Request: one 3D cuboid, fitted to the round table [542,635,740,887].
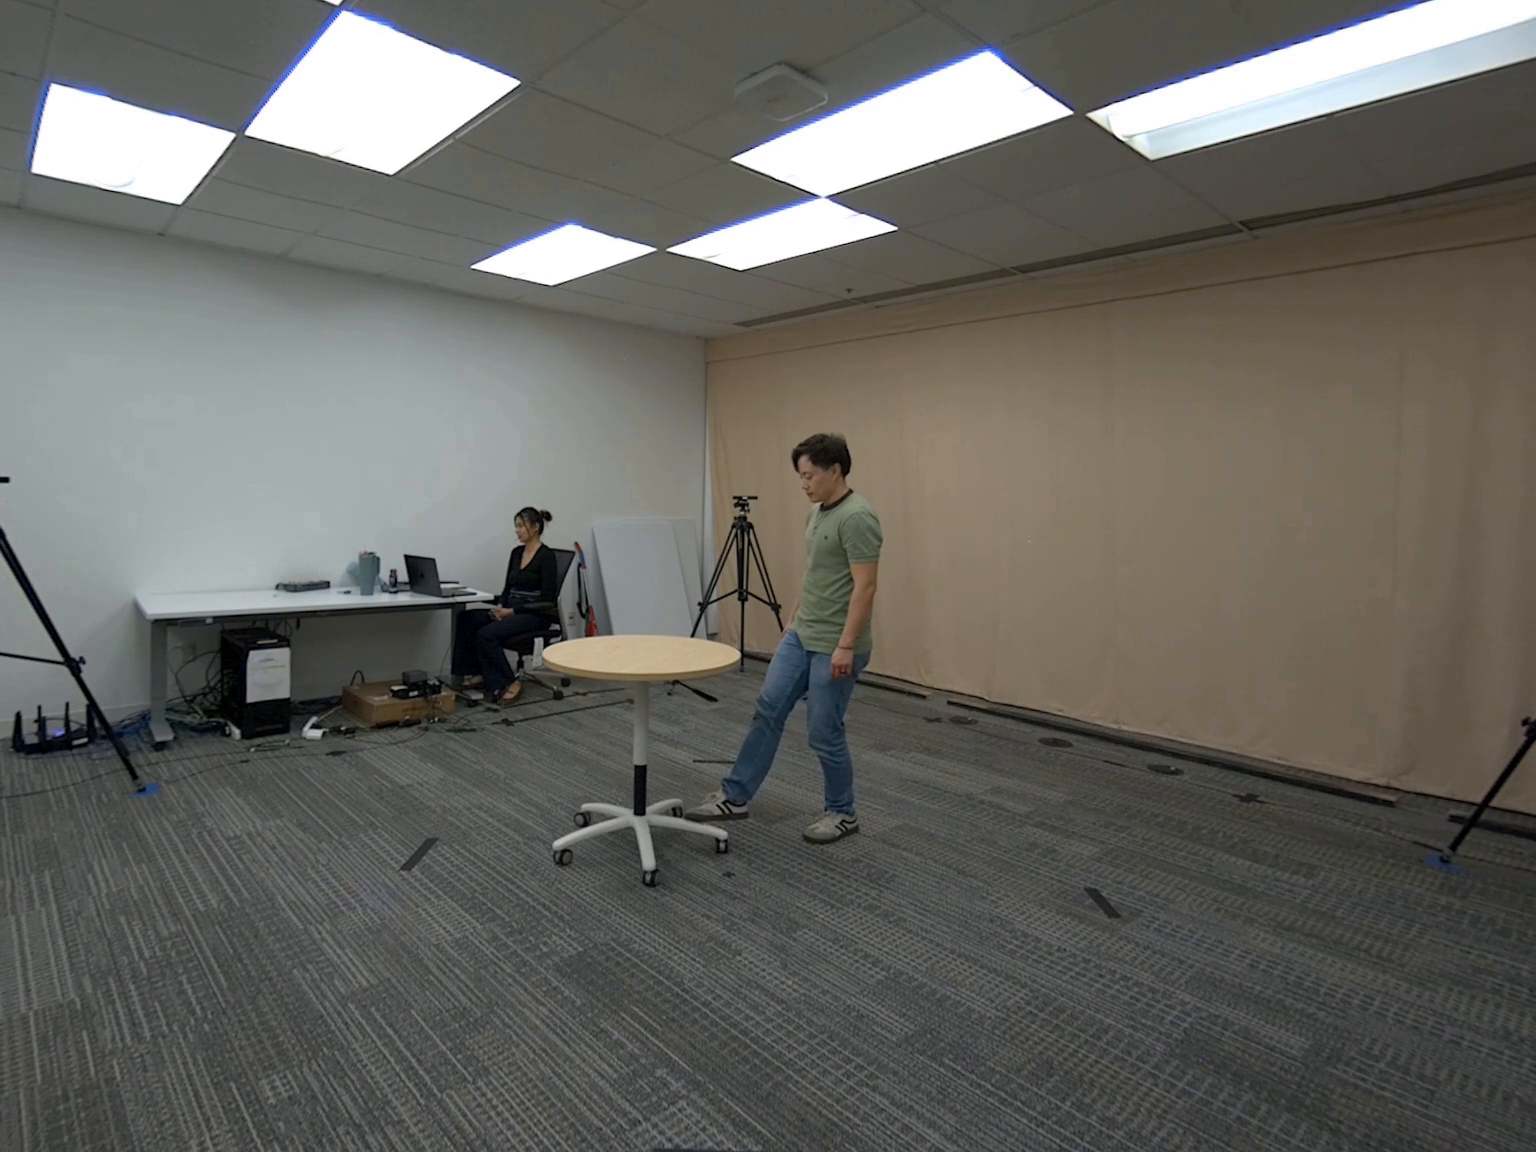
[{"bbox_3d":[-0.511,0.689,3.295,0.763,0.792,0.767,1,4,-1],"label":"round table"}]
